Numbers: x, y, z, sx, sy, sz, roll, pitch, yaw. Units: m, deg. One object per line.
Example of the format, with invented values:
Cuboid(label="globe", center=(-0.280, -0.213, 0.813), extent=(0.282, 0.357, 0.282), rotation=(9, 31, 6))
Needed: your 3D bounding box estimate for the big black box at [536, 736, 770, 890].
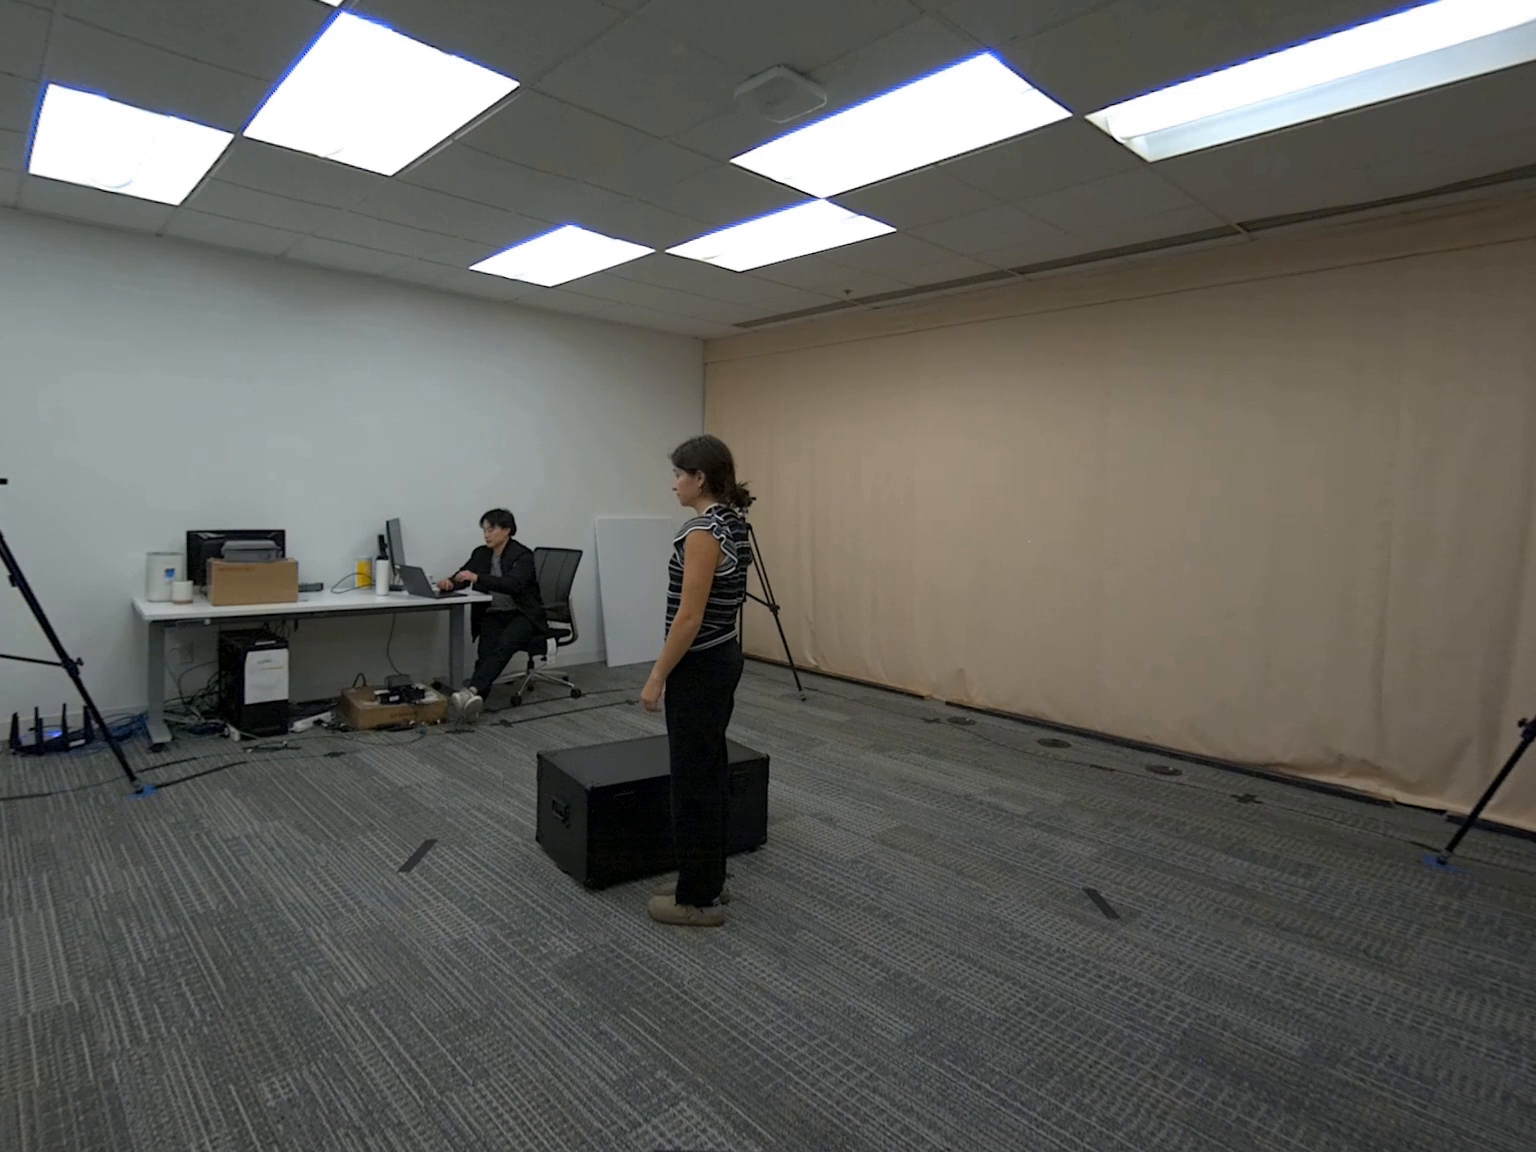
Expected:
Cuboid(label="big black box", center=(-0.434, 0.889, 3.342), extent=(0.843, 0.395, 0.534), rotation=(-3, 6, -35))
